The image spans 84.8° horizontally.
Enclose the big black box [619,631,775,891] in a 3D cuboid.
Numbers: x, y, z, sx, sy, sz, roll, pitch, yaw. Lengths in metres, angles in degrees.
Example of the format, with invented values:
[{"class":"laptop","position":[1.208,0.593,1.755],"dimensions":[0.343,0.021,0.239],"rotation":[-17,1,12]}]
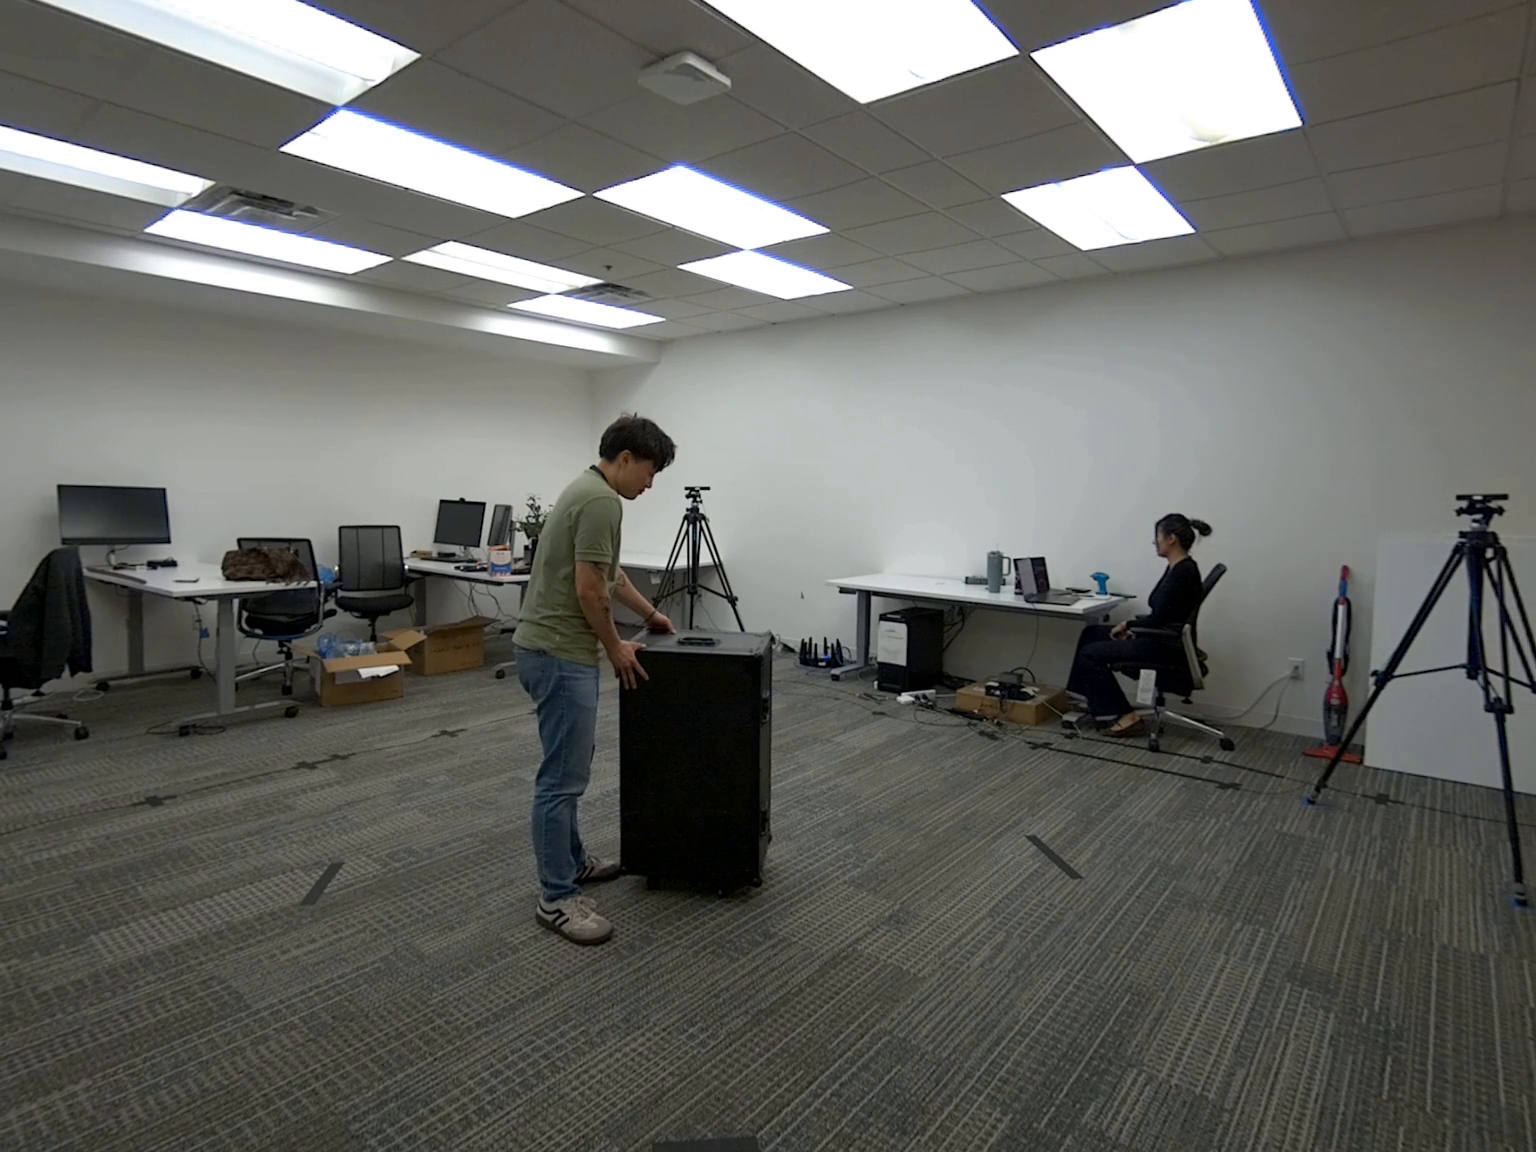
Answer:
[{"class":"big black box","position":[-0.256,0.645,3.007],"dimensions":[0.527,0.857,0.394],"rotation":[1,5,9]}]
